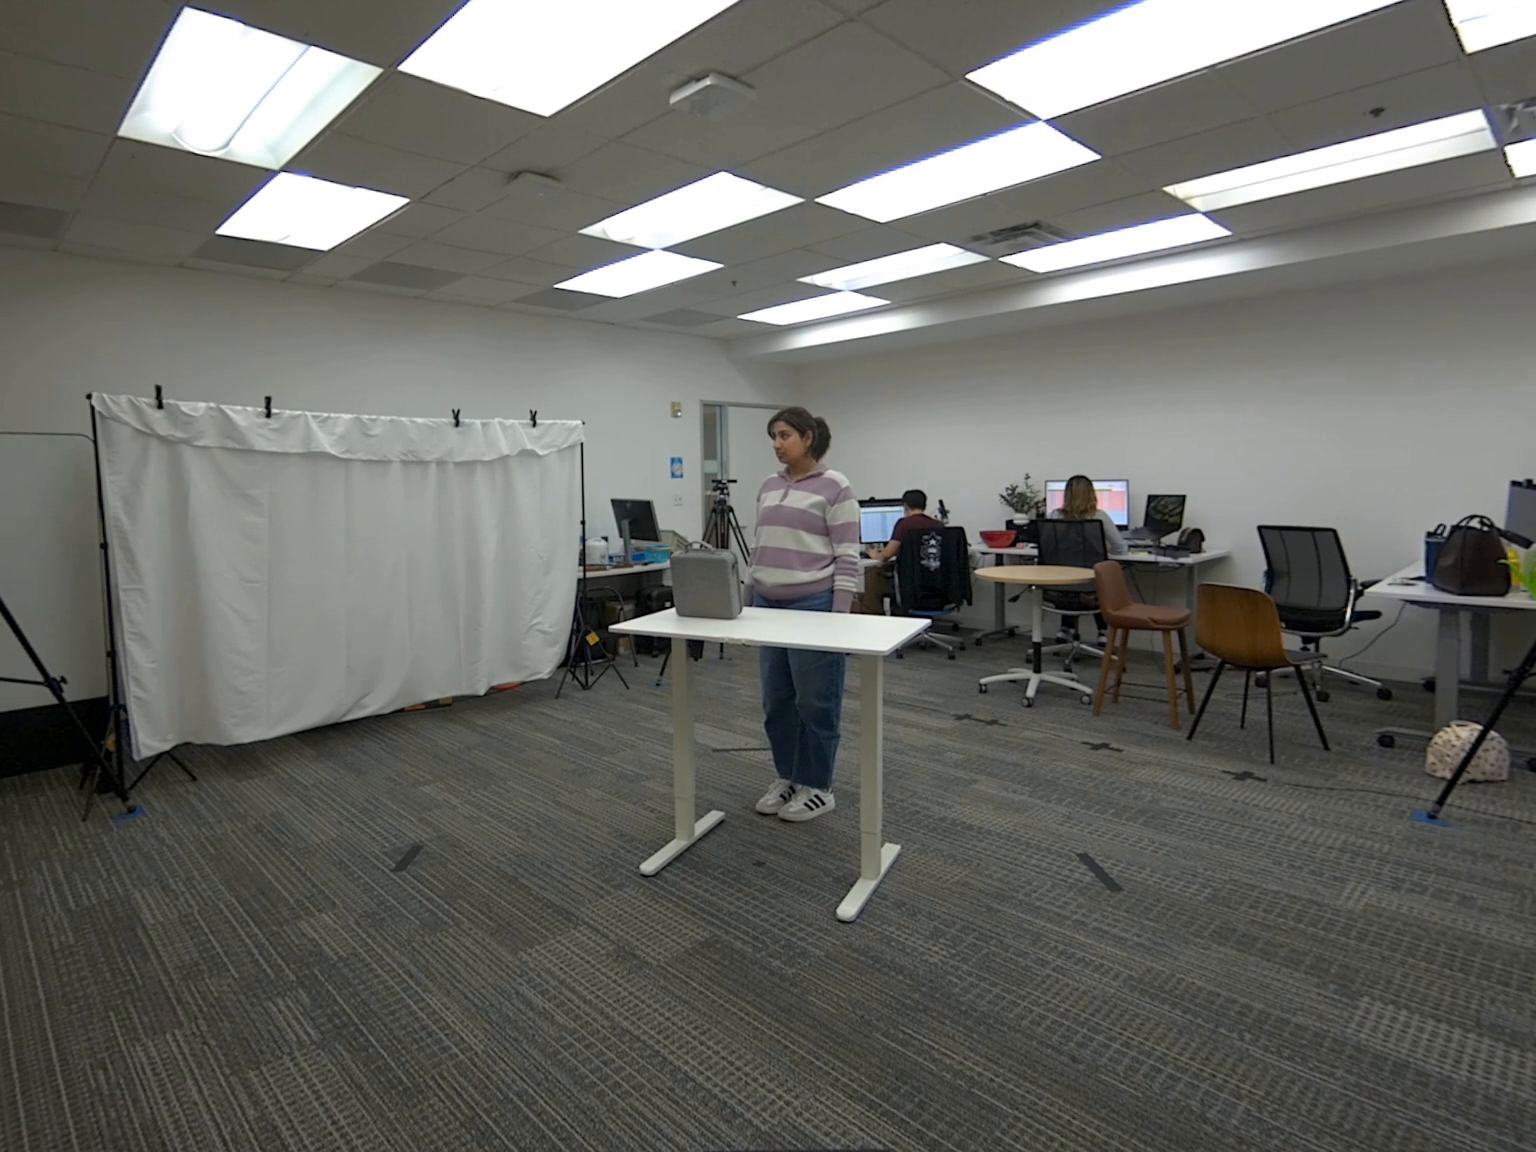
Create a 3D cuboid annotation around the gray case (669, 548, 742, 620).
[{"bbox_3d":[-0.223,0.027,3.180,0.263,0.257,0.103,1,16,25],"label":"gray case"}]
